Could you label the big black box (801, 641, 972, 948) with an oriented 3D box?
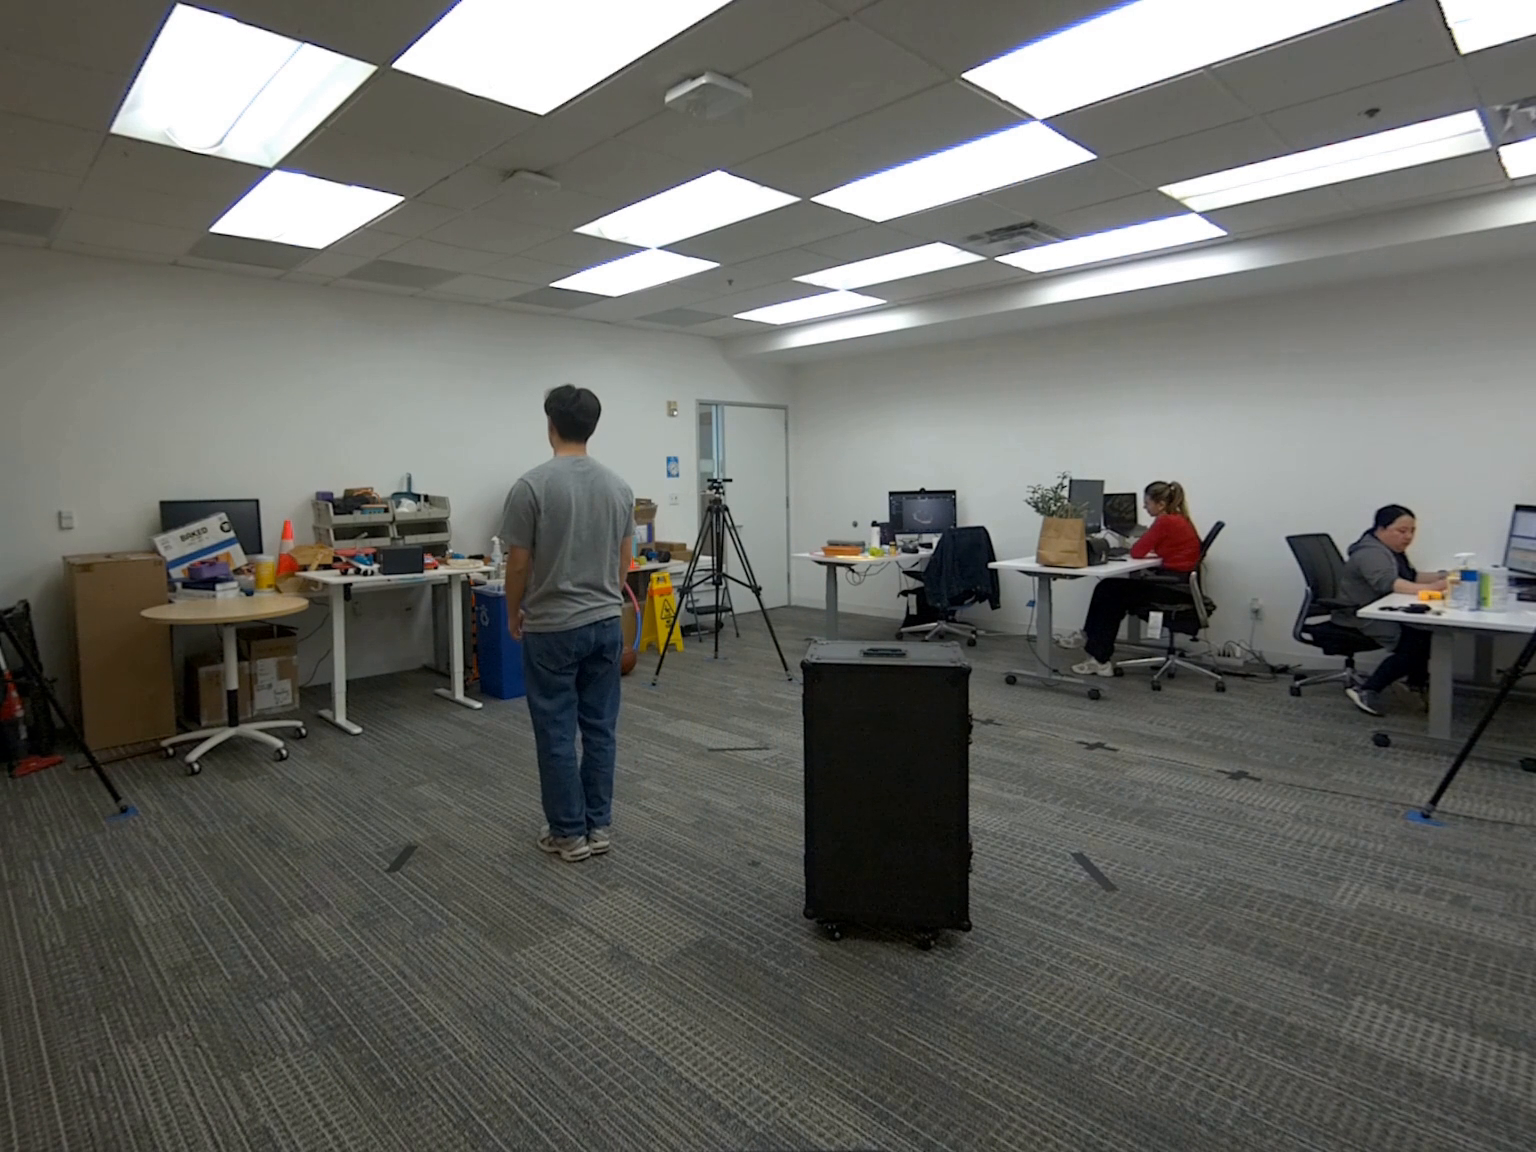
[{"bbox_3d":[0.369,0.659,2.689,0.527,0.859,0.393,-1,3,11],"label":"big black box"}]
